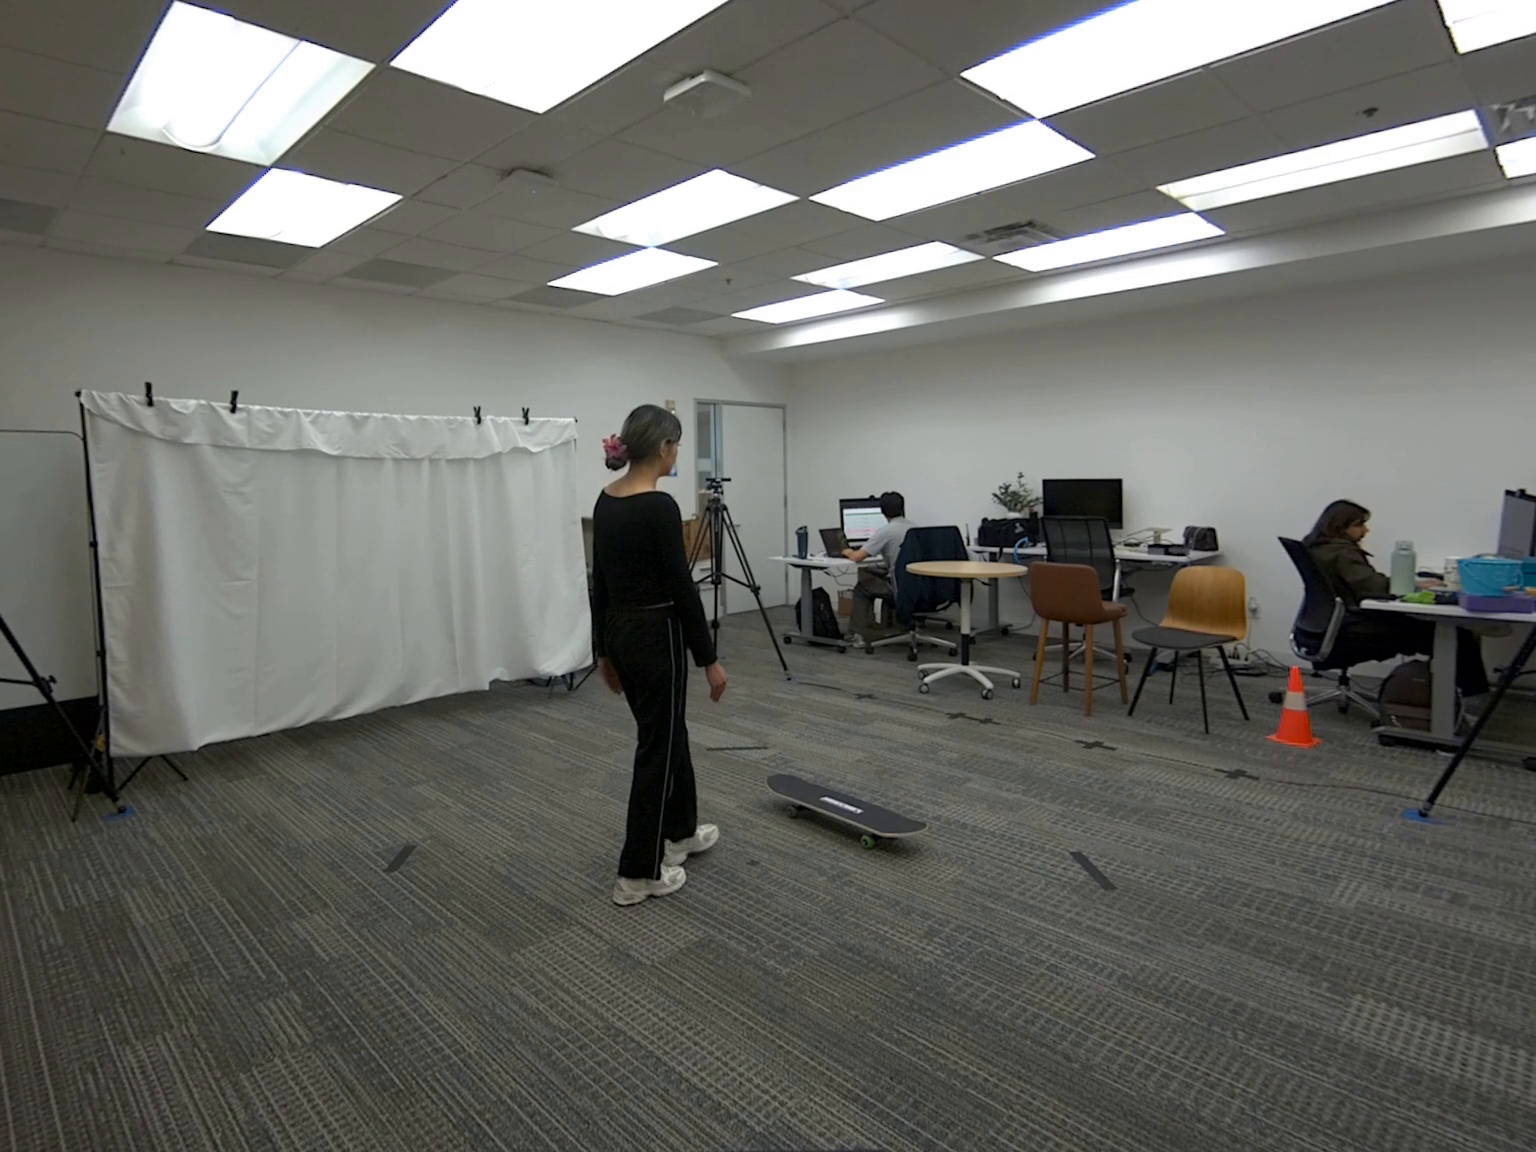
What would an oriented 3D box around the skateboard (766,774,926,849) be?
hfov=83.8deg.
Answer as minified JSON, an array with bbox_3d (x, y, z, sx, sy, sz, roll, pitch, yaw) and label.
[{"bbox_3d":[0.299,0.948,3.409,0.188,0.110,0.810,-5,7,-41],"label":"skateboard"}]
